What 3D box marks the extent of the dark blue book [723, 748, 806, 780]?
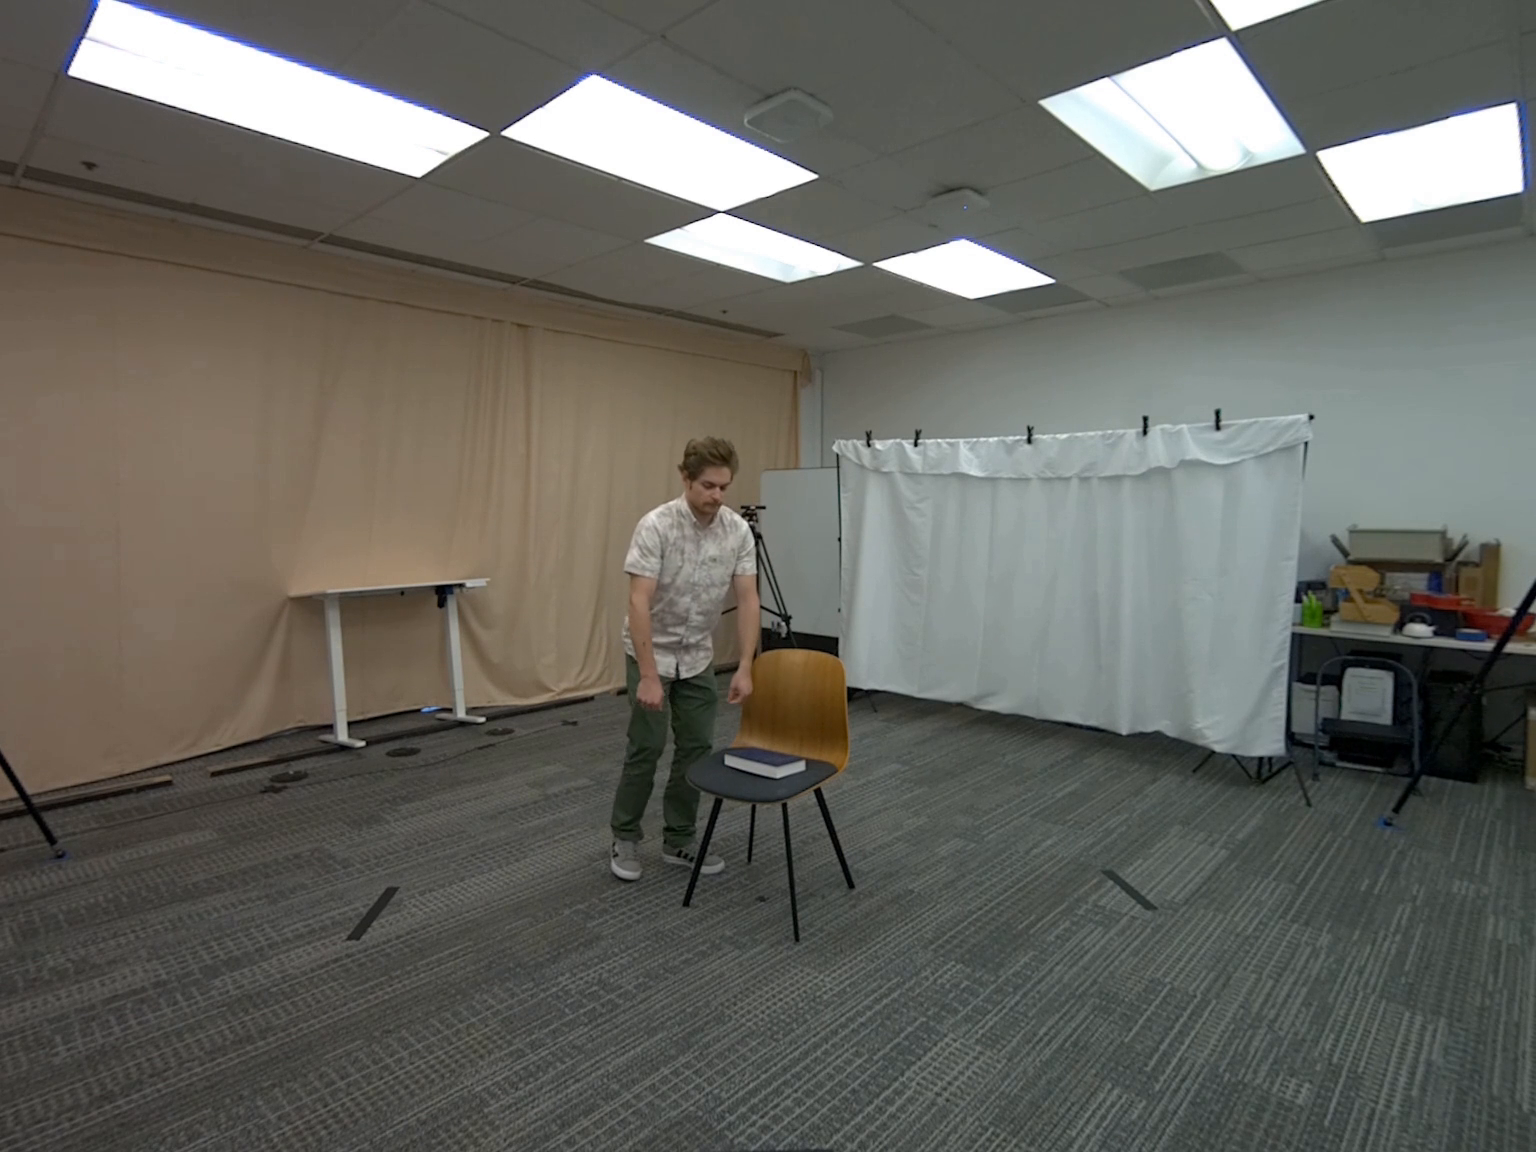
[{"bbox_3d":[-0.007,0.641,2.926,0.253,0.045,0.158,3,3,41],"label":"dark blue book"}]
